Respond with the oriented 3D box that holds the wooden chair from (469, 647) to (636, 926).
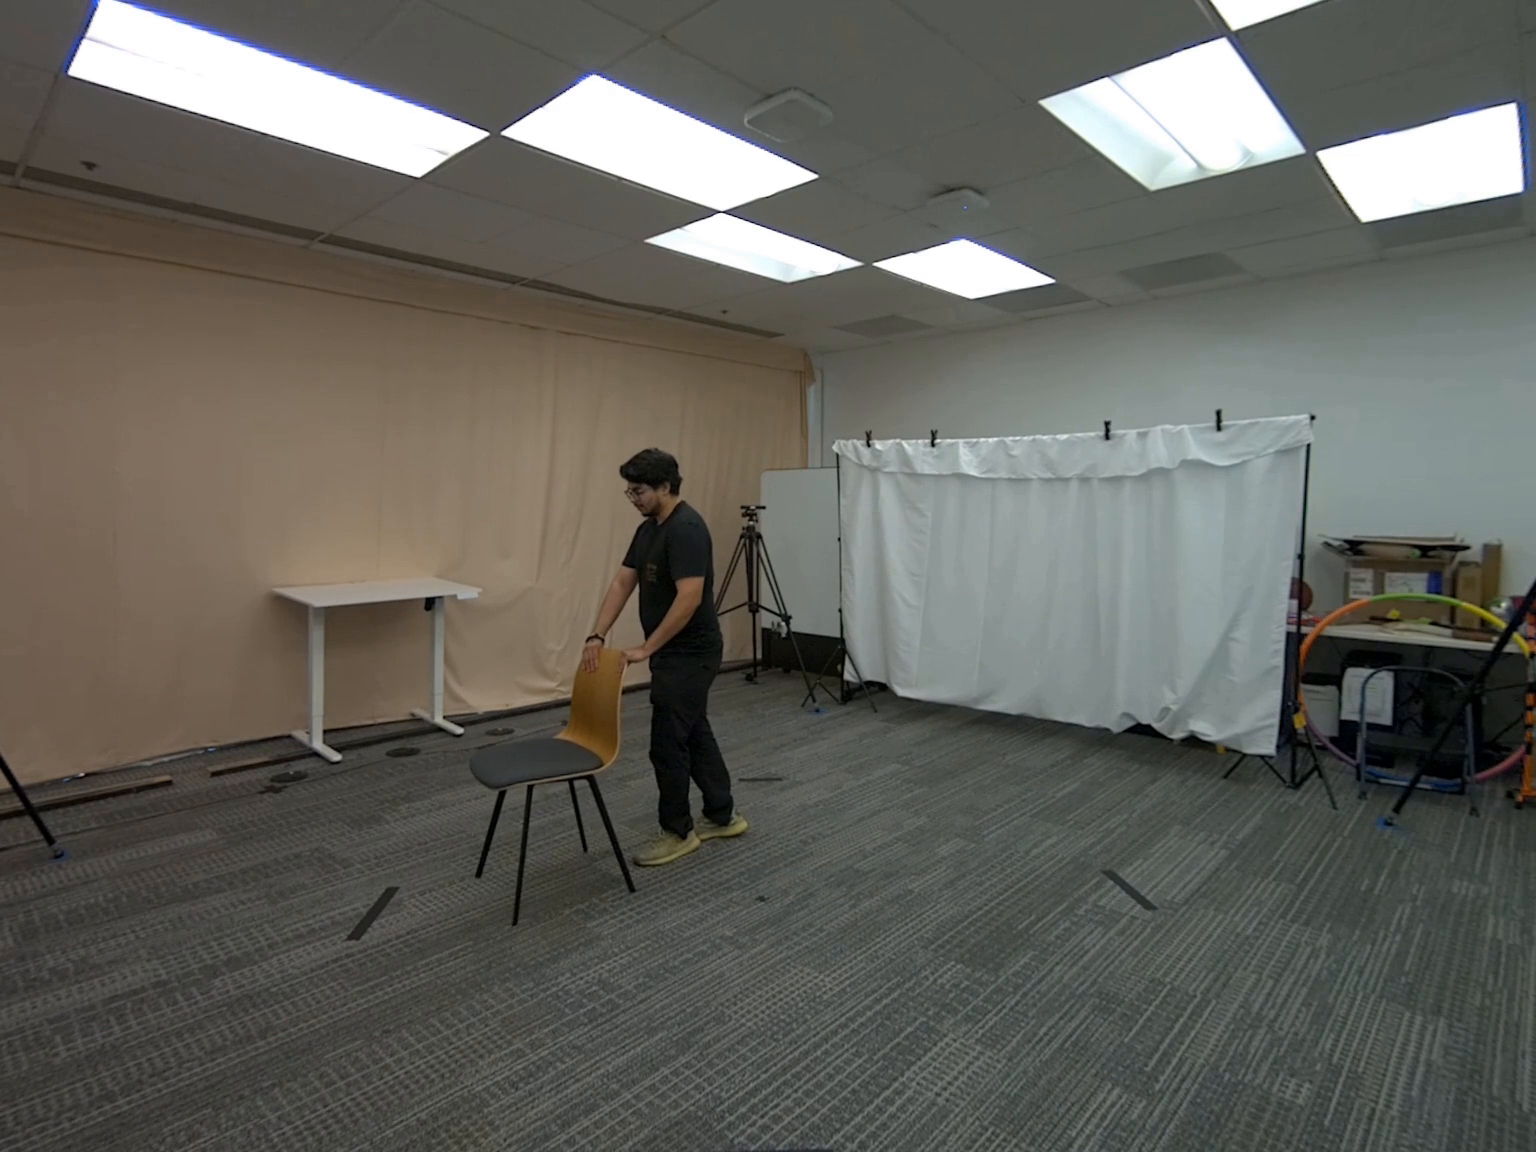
[{"bbox_3d":[-0.801,0.715,3.075,0.508,0.877,0.493,3,1,-33],"label":"wooden chair"}]
